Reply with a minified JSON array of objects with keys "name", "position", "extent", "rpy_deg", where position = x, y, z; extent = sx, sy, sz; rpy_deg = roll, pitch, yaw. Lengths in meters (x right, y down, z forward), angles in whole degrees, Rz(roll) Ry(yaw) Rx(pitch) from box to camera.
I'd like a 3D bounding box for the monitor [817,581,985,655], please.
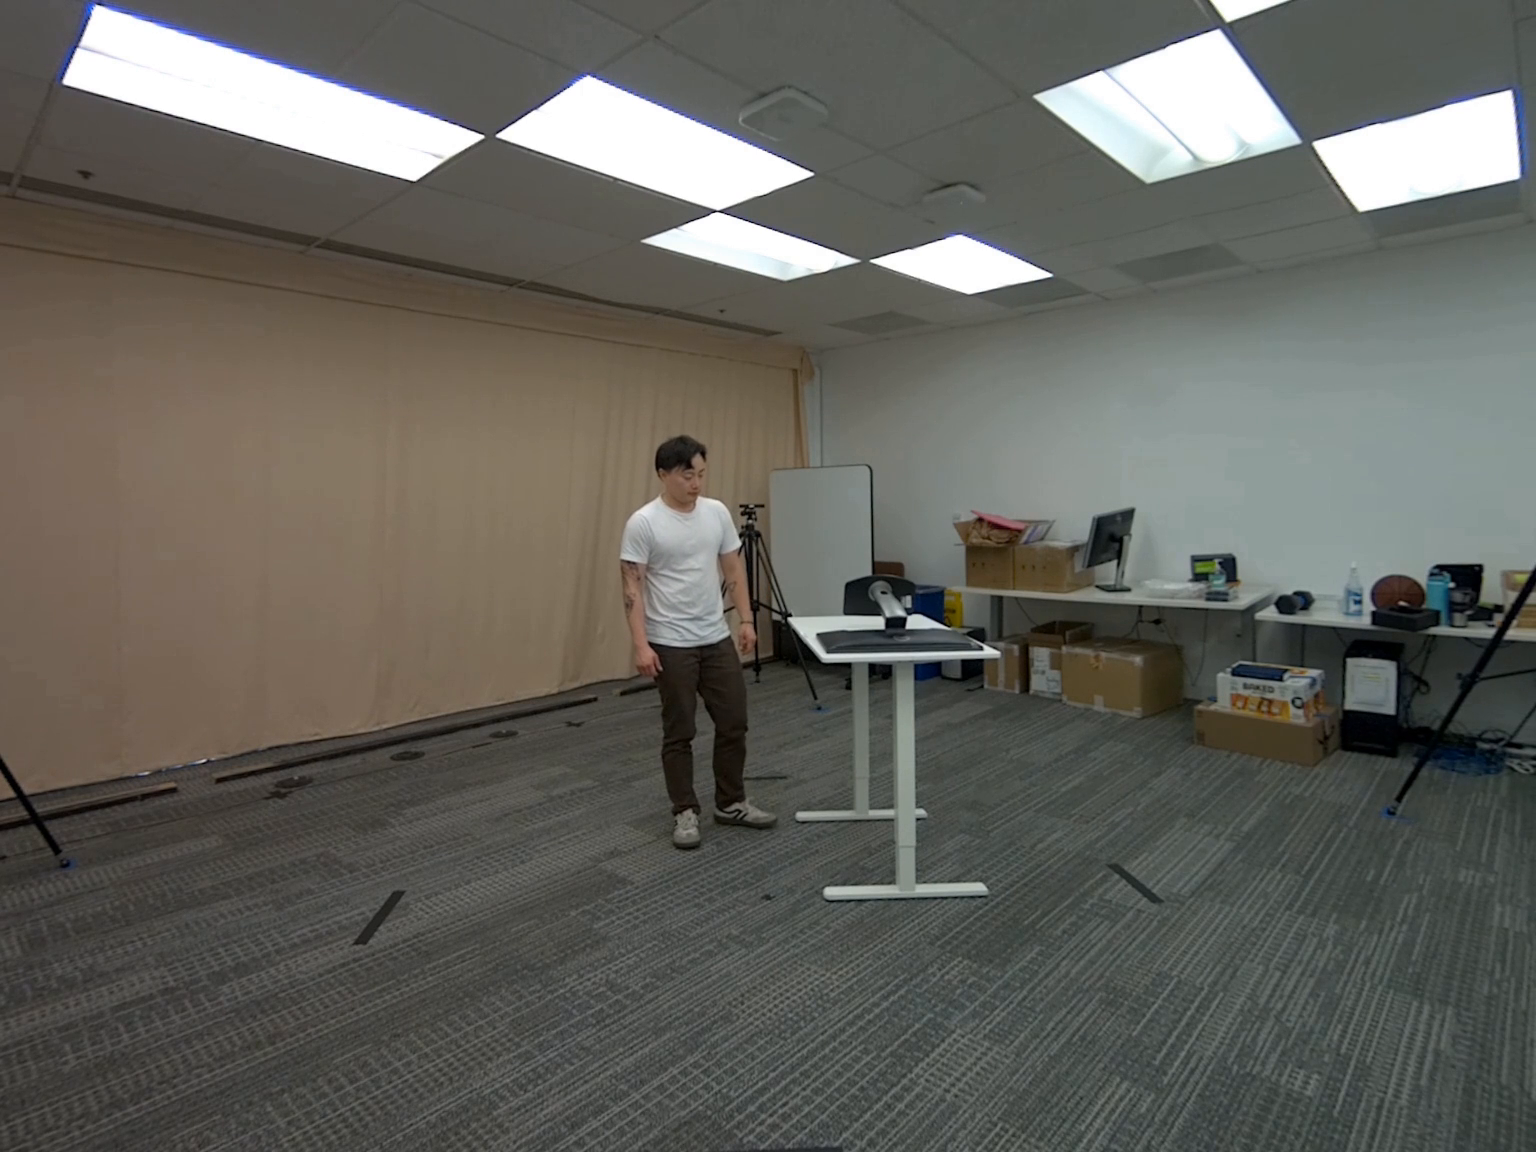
[{"name":"monitor","position":[0.468,0.178,3.114],"extent":[0.539,0.184,0.529],"rpy_deg":[-3,22,0]}]
